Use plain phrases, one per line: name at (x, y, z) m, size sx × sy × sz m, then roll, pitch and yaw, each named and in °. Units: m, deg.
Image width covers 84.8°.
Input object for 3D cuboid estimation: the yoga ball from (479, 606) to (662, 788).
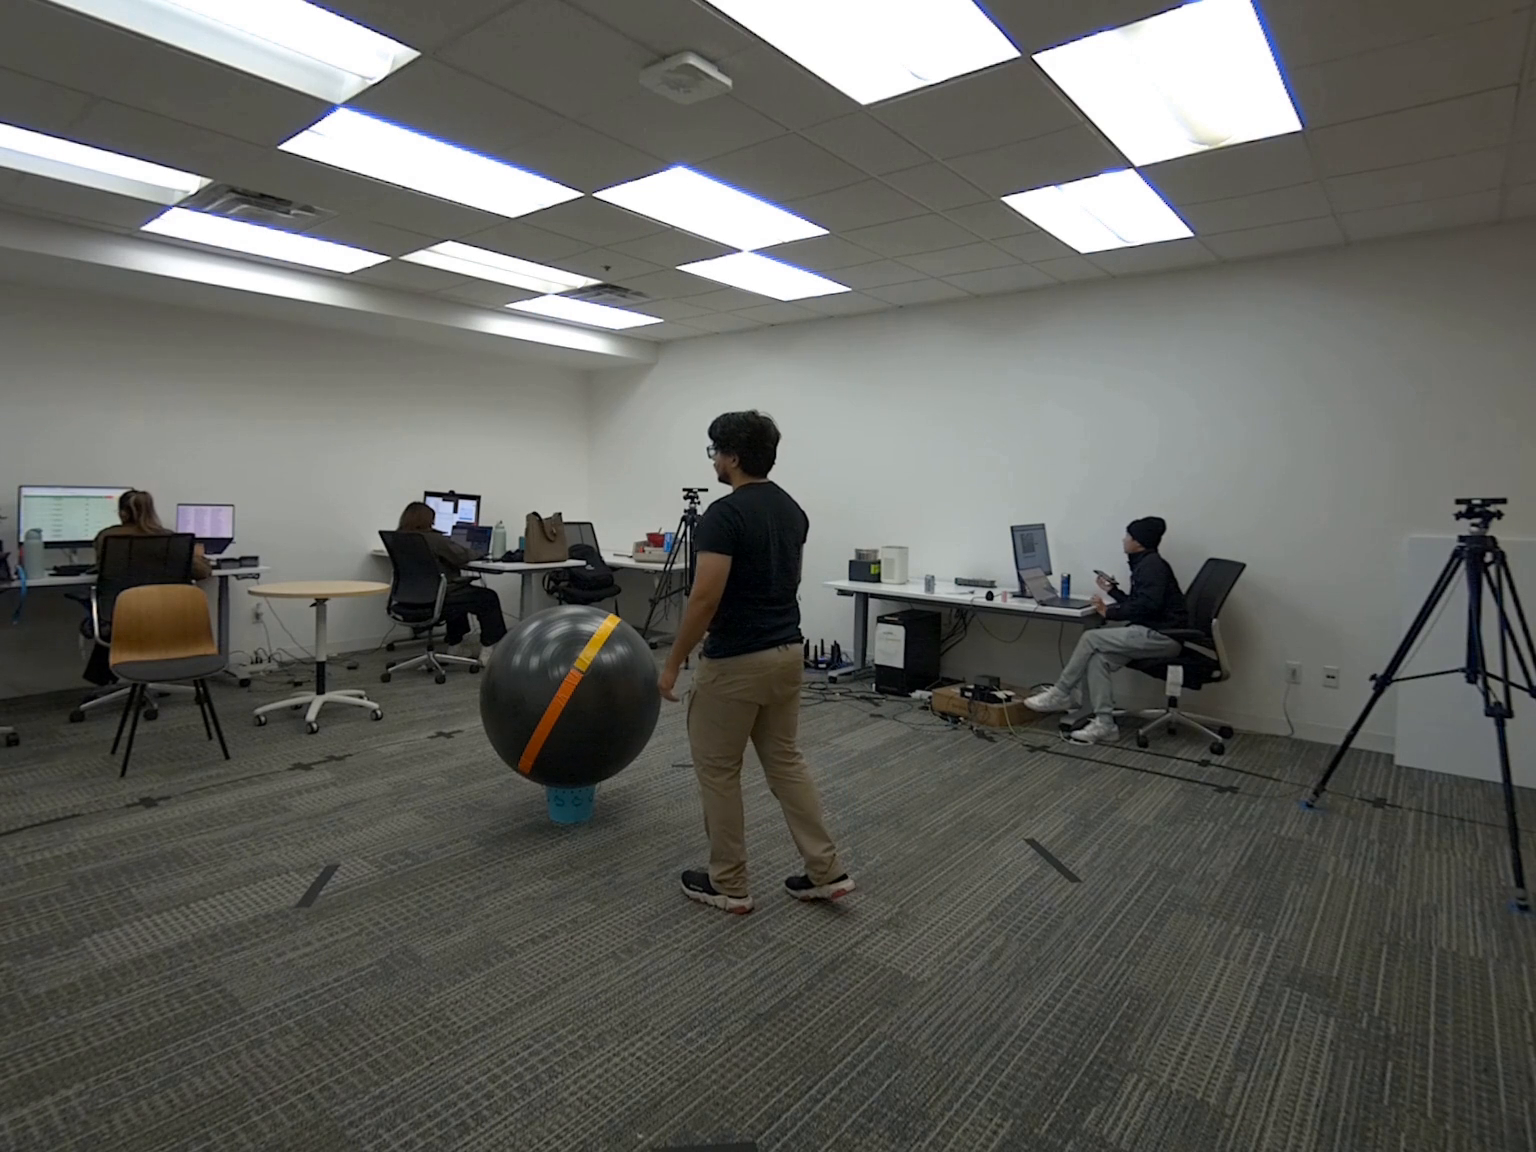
yoga ball at (-0.839, 0.502, 3.590) m, size 0.757 × 0.756 × 0.762 m, roll 1°, pitch 4°, yaw -2°
